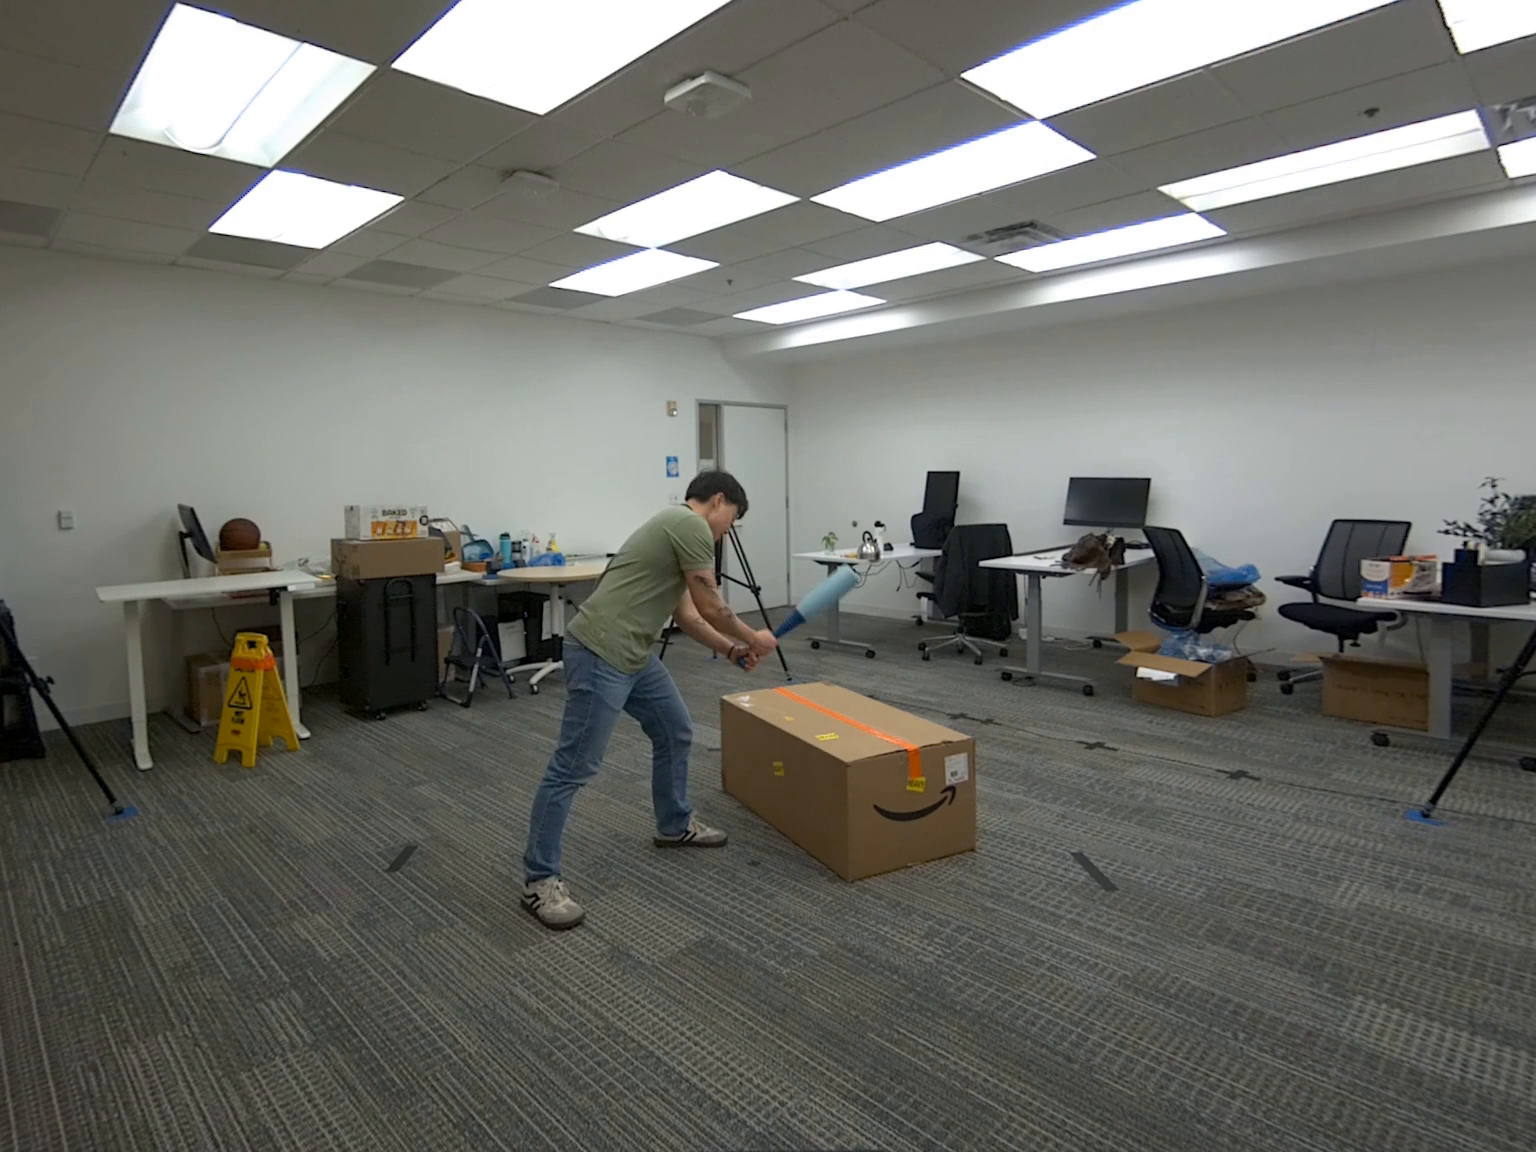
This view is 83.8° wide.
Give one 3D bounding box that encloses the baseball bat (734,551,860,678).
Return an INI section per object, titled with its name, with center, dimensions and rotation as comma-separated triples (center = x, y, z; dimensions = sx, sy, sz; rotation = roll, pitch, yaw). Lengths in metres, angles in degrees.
[baseball bat]
center = 0.068, 0.150, 3.122
dimensions = 0.543, 0.089, 0.089
rotation = -39, 2, 5
